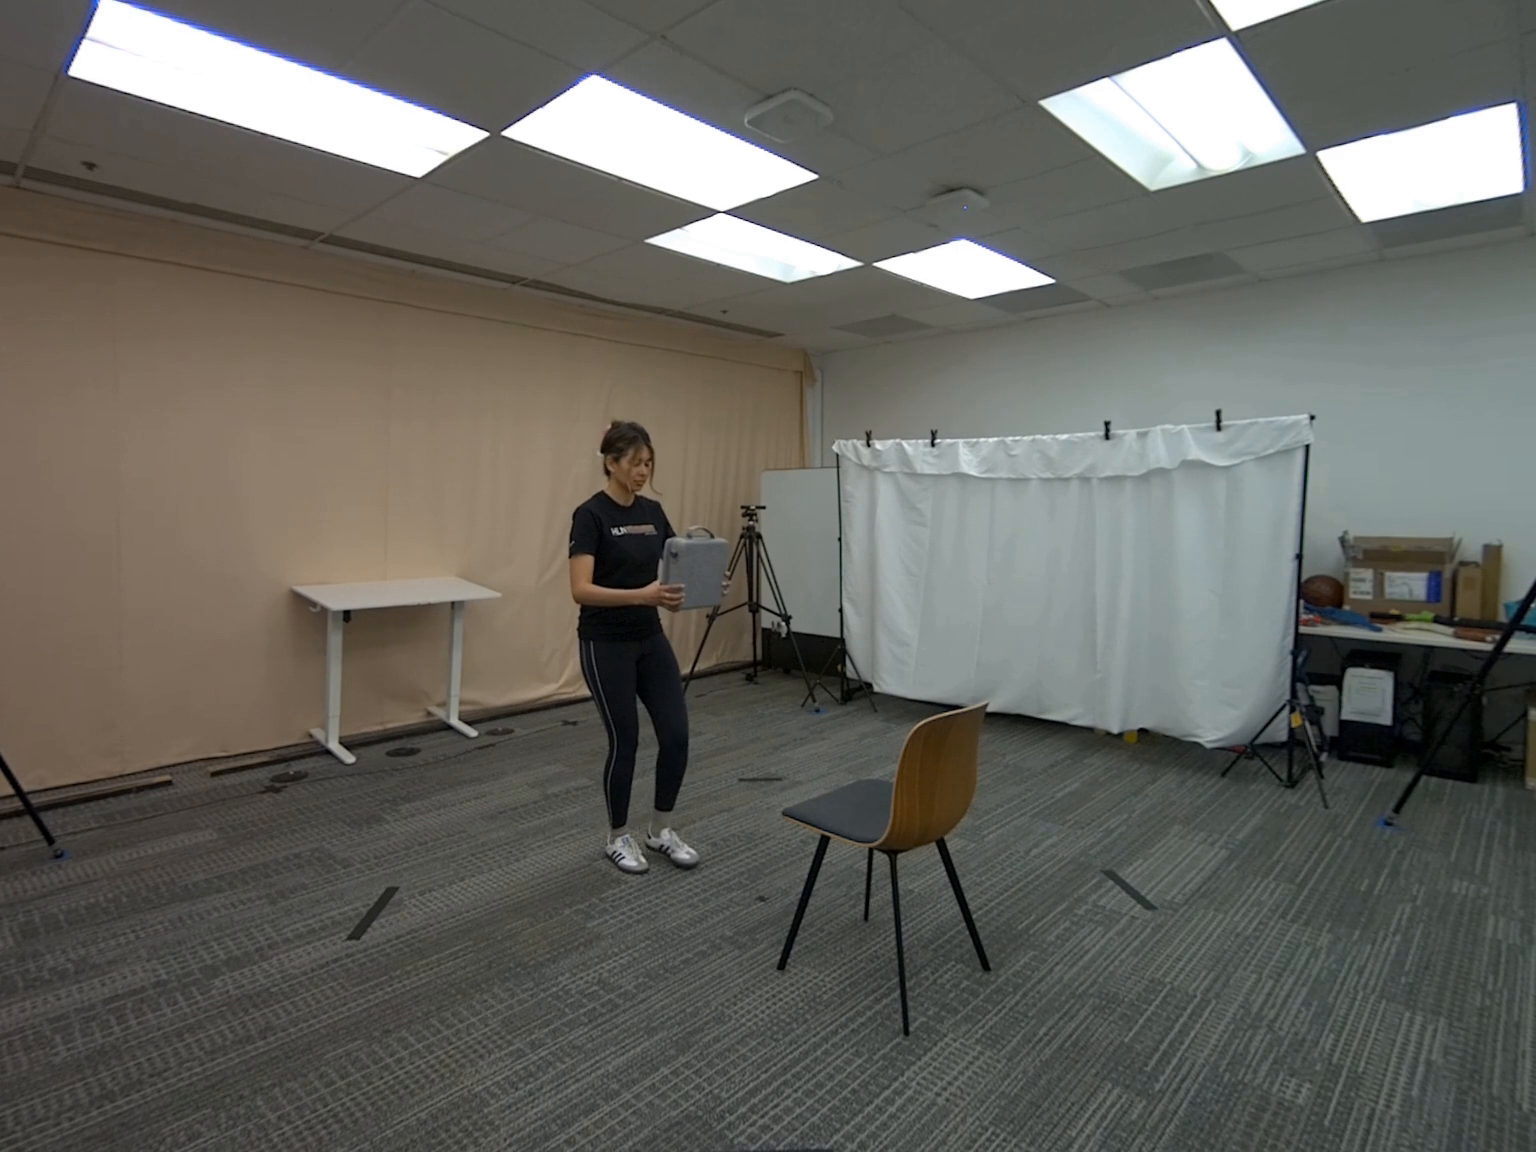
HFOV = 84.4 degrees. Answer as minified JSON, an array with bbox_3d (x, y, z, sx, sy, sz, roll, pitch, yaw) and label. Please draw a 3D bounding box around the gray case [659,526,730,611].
[{"bbox_3d":[-0.252,-0.015,2.990,0.108,0.259,0.249,11,11,40],"label":"gray case"}]
